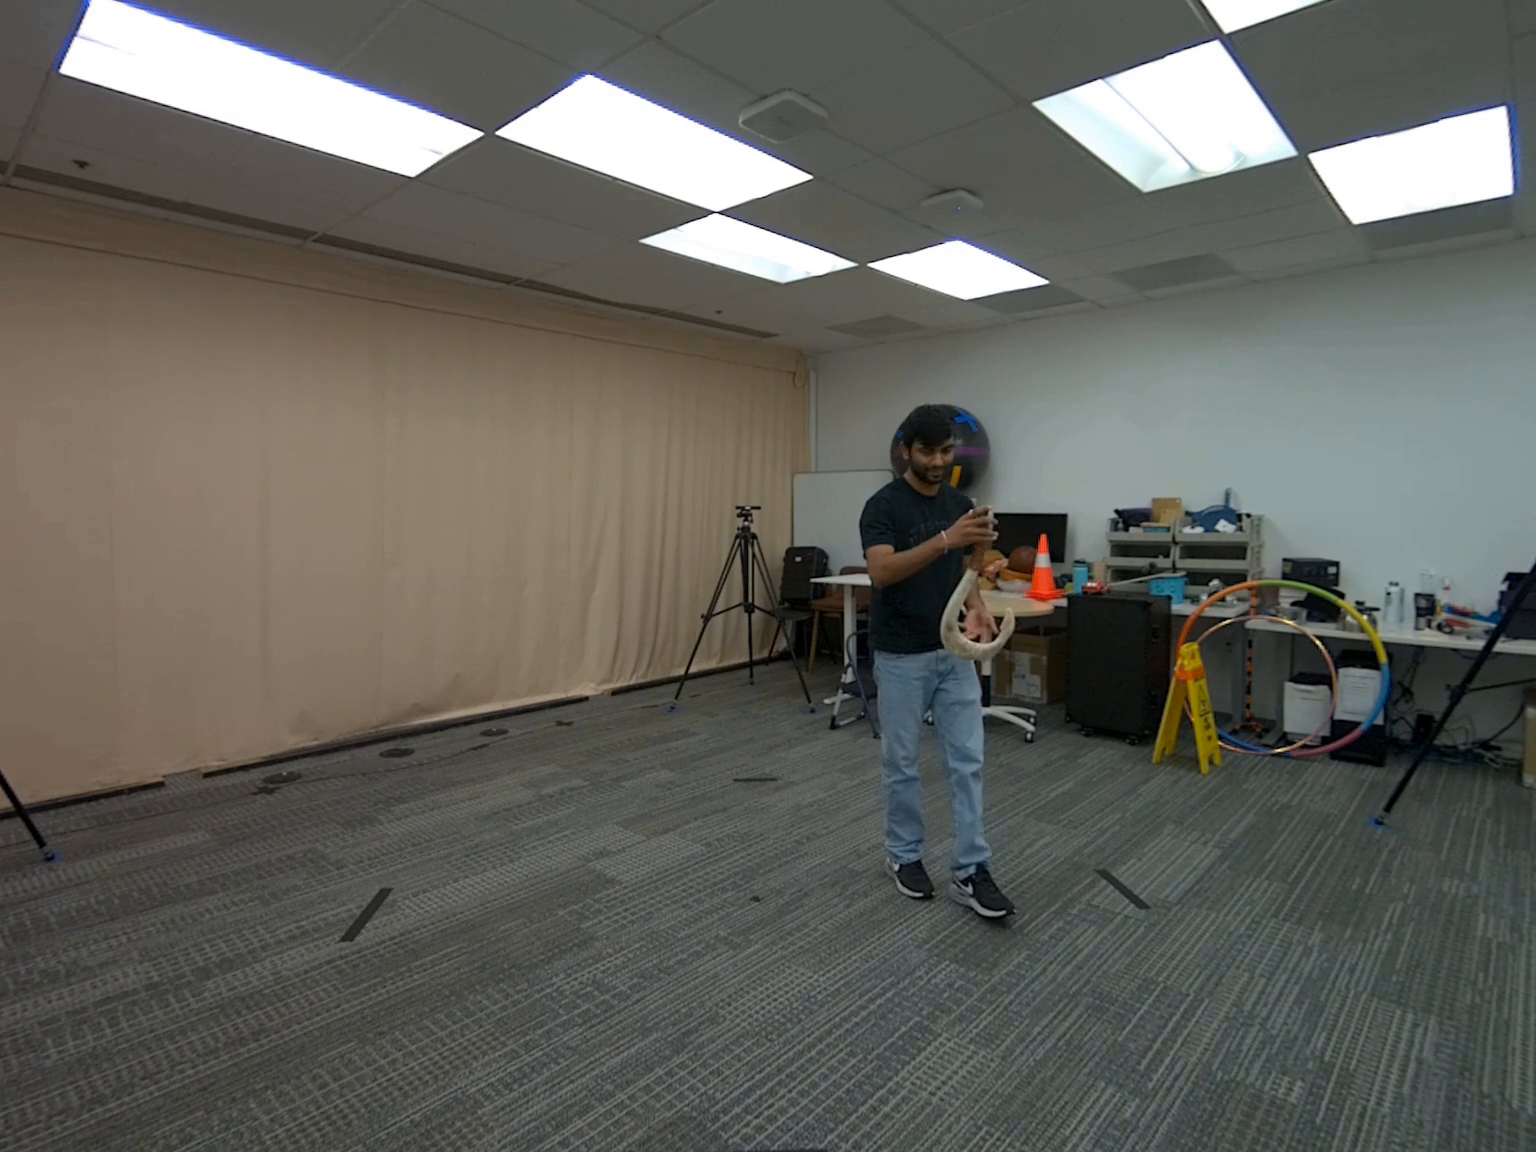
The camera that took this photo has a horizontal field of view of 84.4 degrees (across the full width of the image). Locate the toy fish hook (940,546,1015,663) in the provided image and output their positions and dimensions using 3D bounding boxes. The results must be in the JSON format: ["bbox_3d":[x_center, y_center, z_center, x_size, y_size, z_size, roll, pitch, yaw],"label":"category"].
[{"bbox_3d":[0.695,0.029,2.693,0.226,0.503,0.048,8,14,4],"label":"toy fish hook"}]
